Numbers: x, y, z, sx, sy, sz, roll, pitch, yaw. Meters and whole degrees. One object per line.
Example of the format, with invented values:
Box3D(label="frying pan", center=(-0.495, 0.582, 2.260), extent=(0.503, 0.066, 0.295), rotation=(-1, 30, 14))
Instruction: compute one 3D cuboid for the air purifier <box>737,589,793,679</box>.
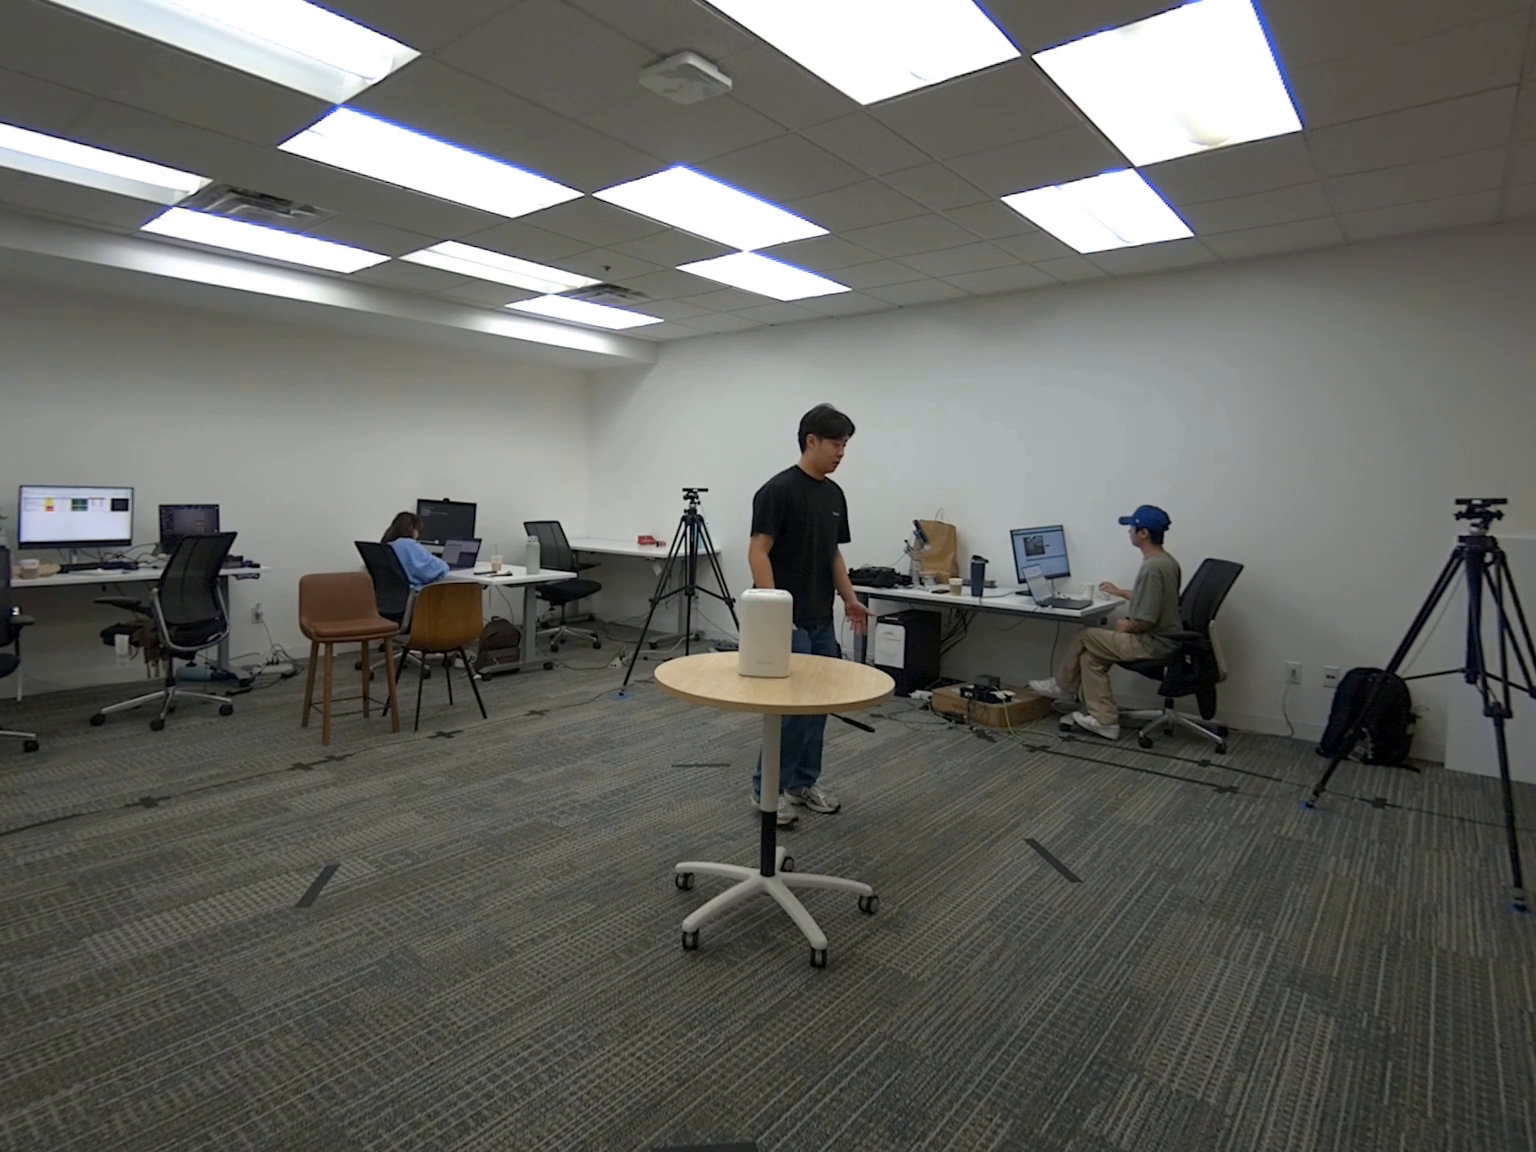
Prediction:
Box3D(label="air purifier", center=(-0.016, 0.181, 2.758), extent=(0.172, 0.265, 0.171), rotation=(2, 3, 4))
